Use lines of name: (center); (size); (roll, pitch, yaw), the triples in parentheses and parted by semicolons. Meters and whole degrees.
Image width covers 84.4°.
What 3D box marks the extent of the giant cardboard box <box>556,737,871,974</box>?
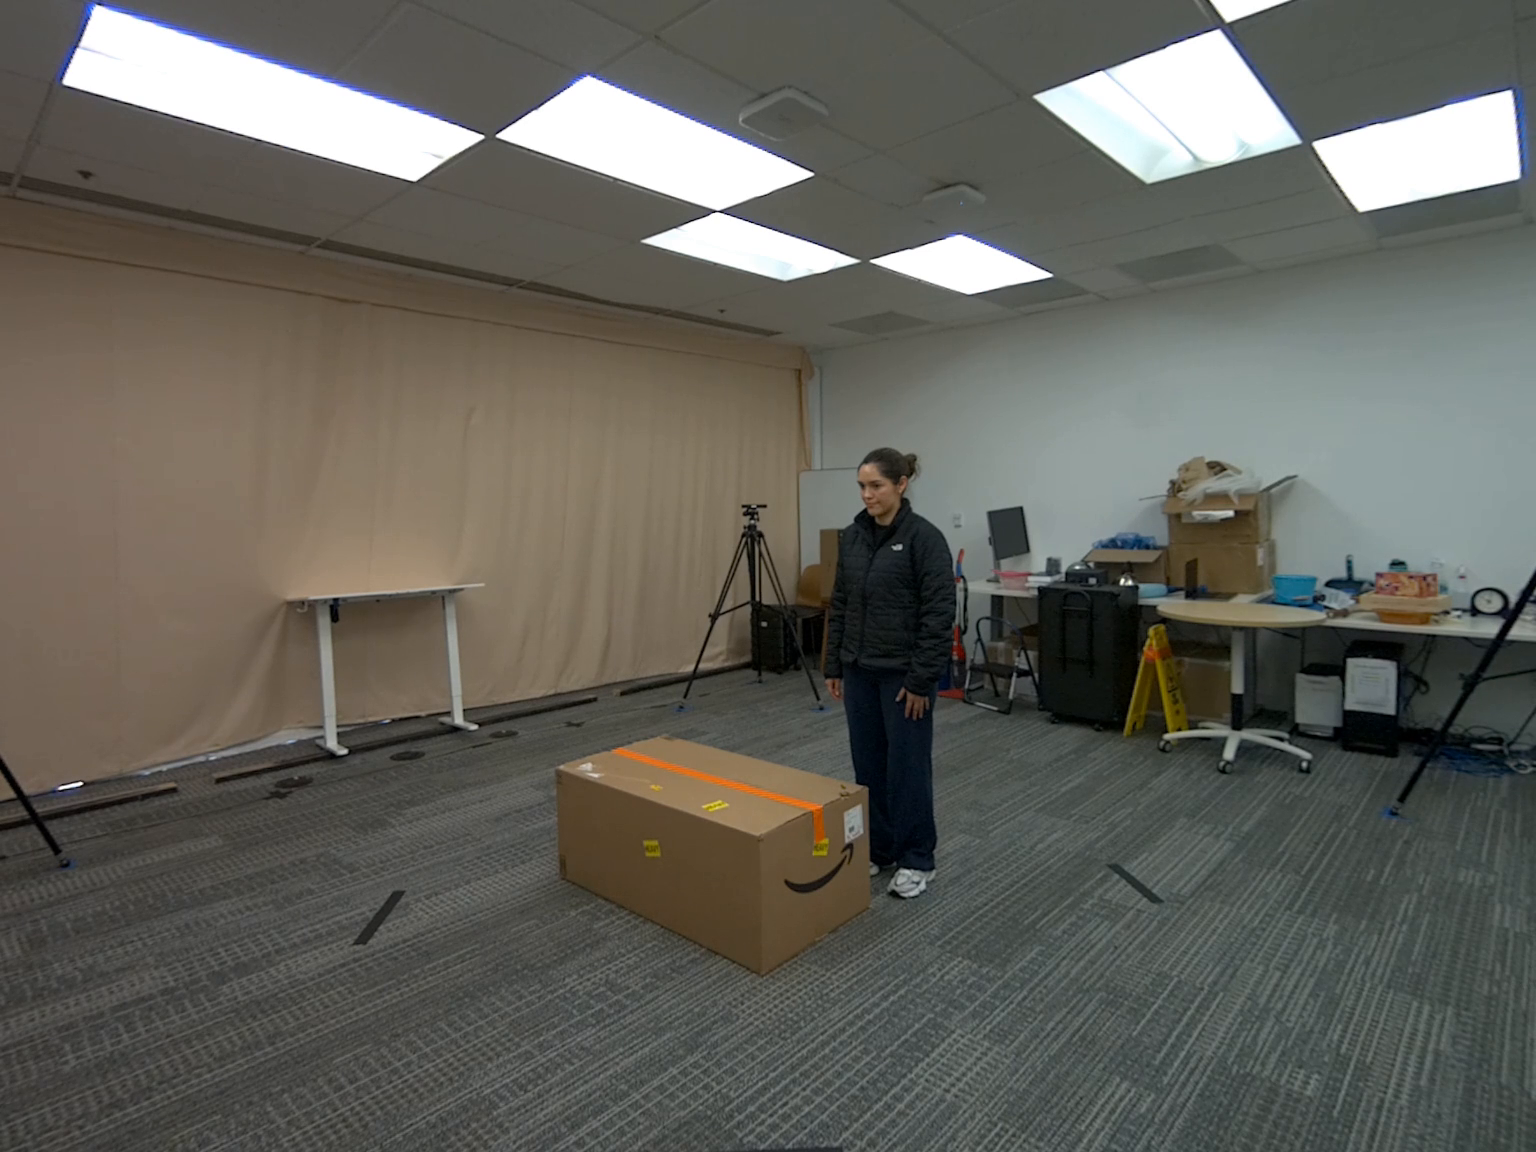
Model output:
giant cardboard box: (-0.210, 0.931, 3.031); (1.061, 0.446, 0.566); (2, 4, 42)
